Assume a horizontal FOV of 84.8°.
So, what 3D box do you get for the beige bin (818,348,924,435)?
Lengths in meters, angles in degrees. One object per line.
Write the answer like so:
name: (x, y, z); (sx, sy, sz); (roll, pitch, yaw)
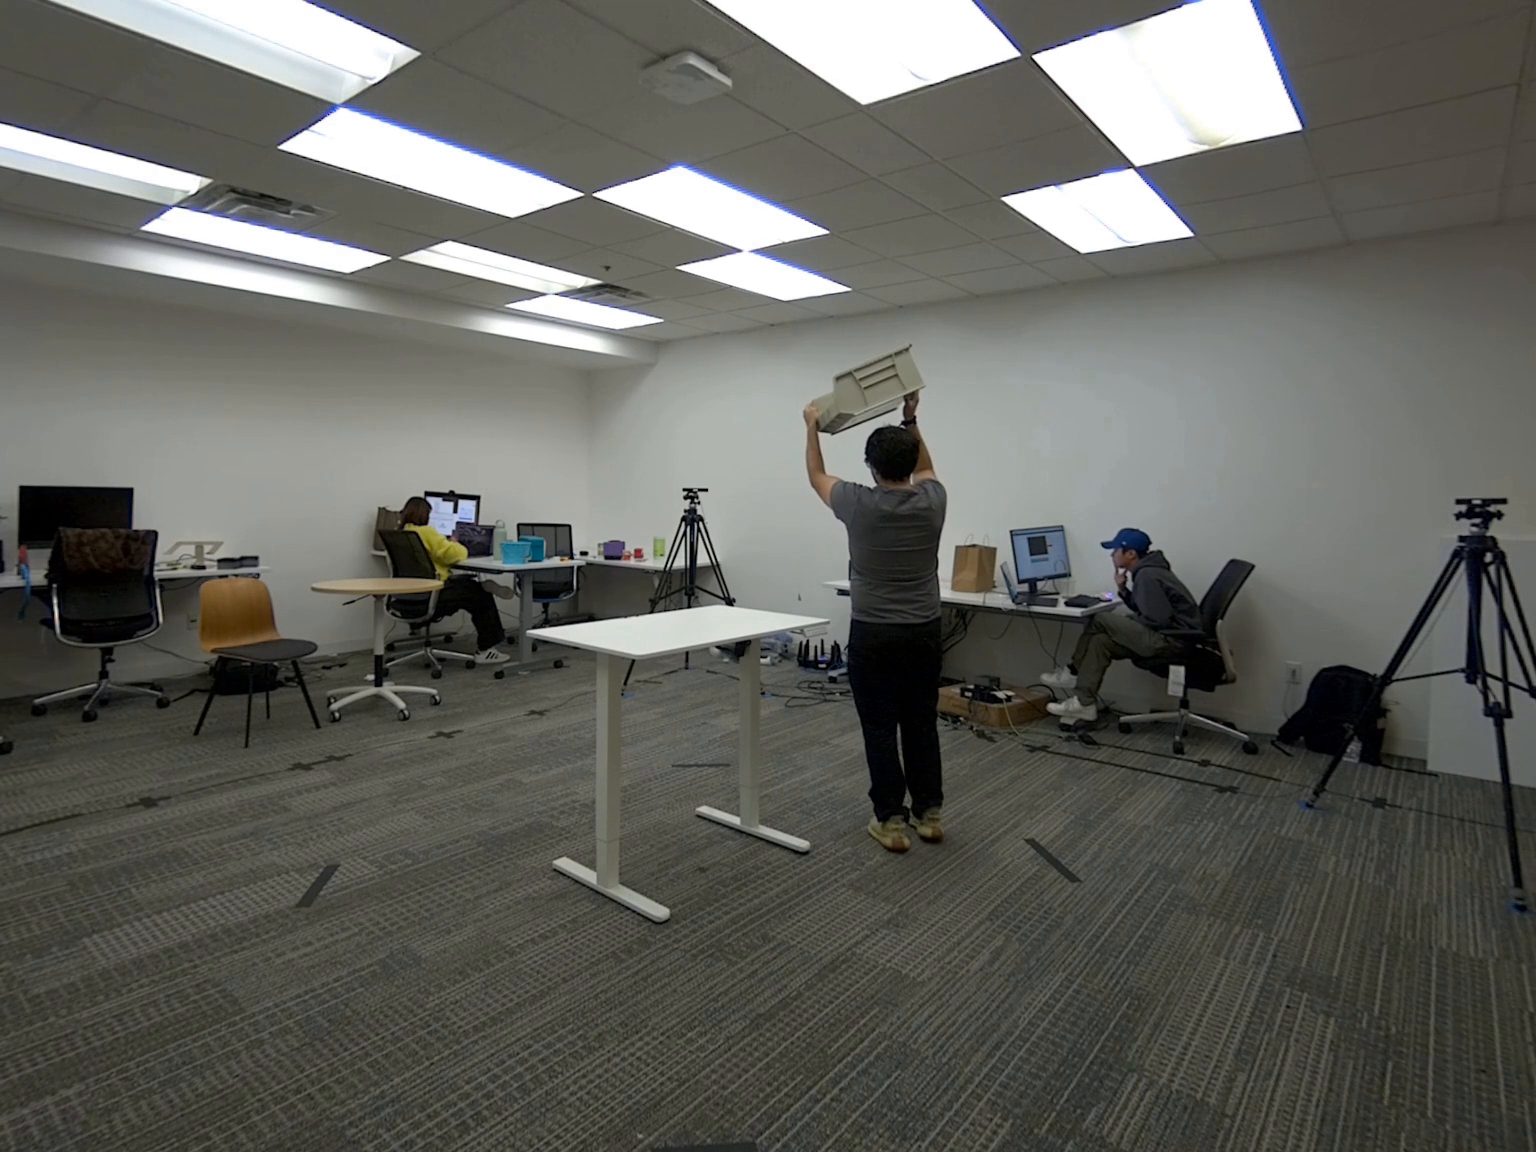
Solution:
beige bin: (0.390, -0.751, 3.507); (0.375, 0.189, 0.424); (-23, 0, -9)
